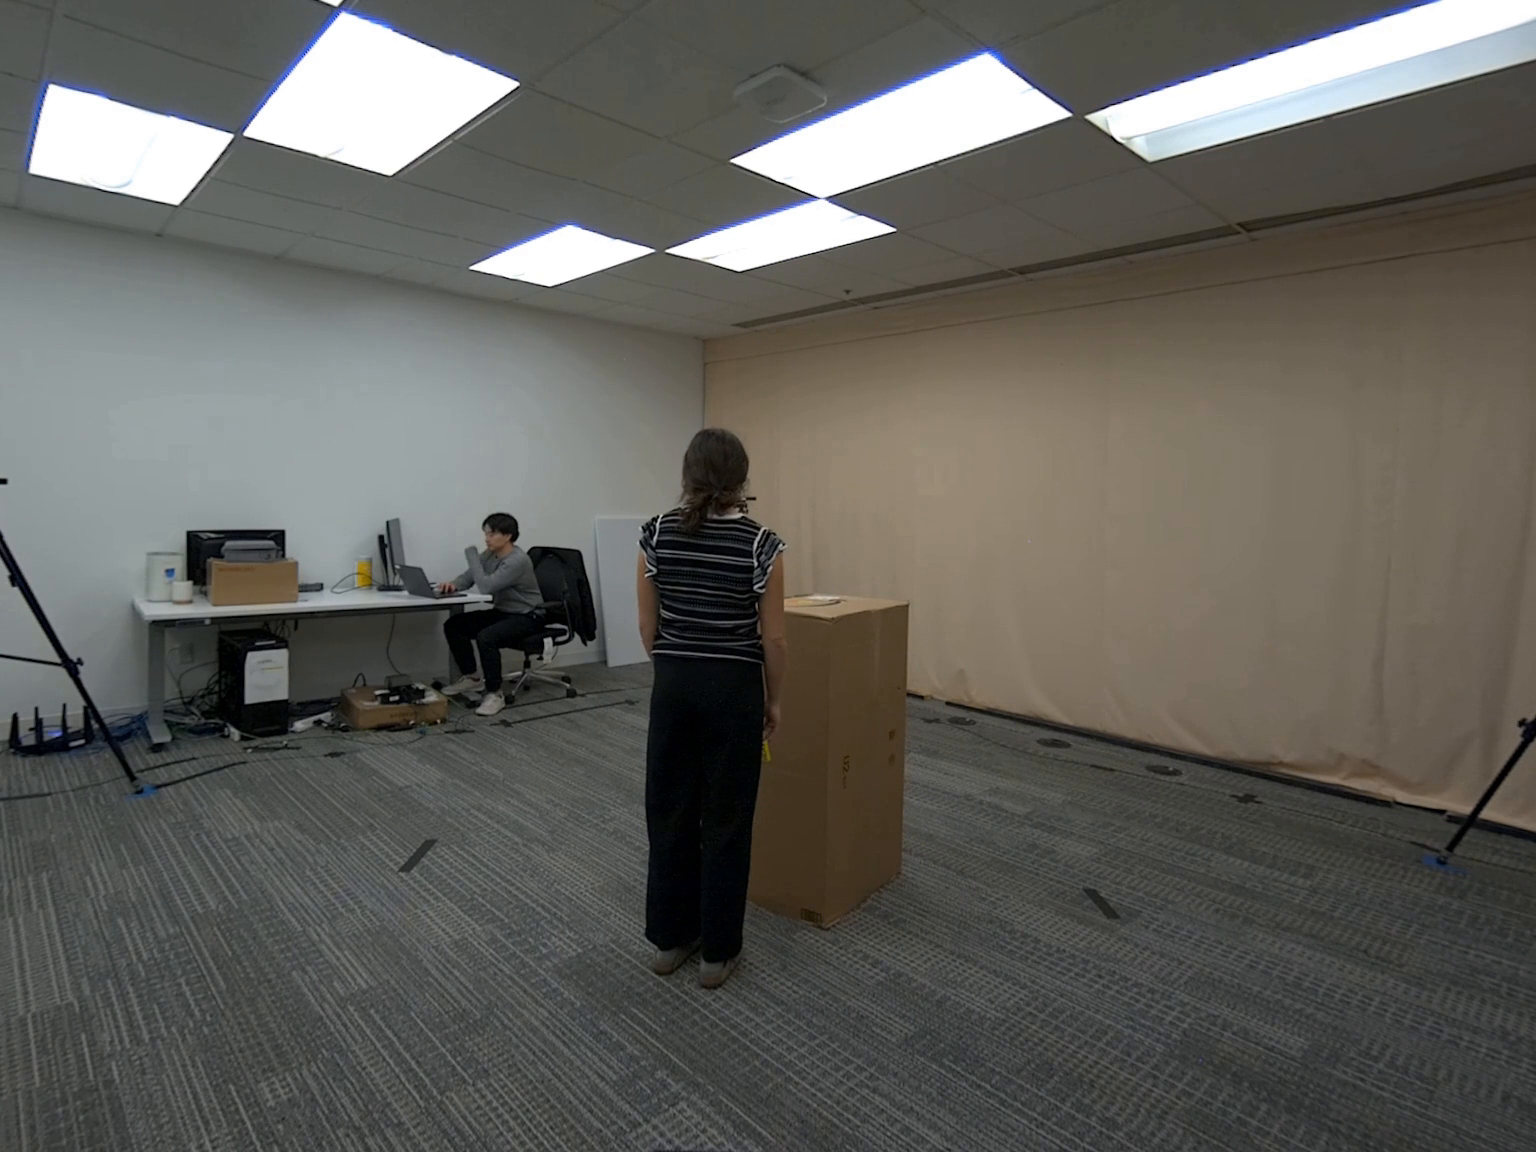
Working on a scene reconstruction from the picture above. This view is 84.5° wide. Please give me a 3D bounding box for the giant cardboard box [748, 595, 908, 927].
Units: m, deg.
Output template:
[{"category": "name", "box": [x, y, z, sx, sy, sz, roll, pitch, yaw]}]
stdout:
[{"category": "giant cardboard box", "box": [0.179, 0.611, 3.049, 0.436, 1.023, 0.565, 4, 4, 35]}]
